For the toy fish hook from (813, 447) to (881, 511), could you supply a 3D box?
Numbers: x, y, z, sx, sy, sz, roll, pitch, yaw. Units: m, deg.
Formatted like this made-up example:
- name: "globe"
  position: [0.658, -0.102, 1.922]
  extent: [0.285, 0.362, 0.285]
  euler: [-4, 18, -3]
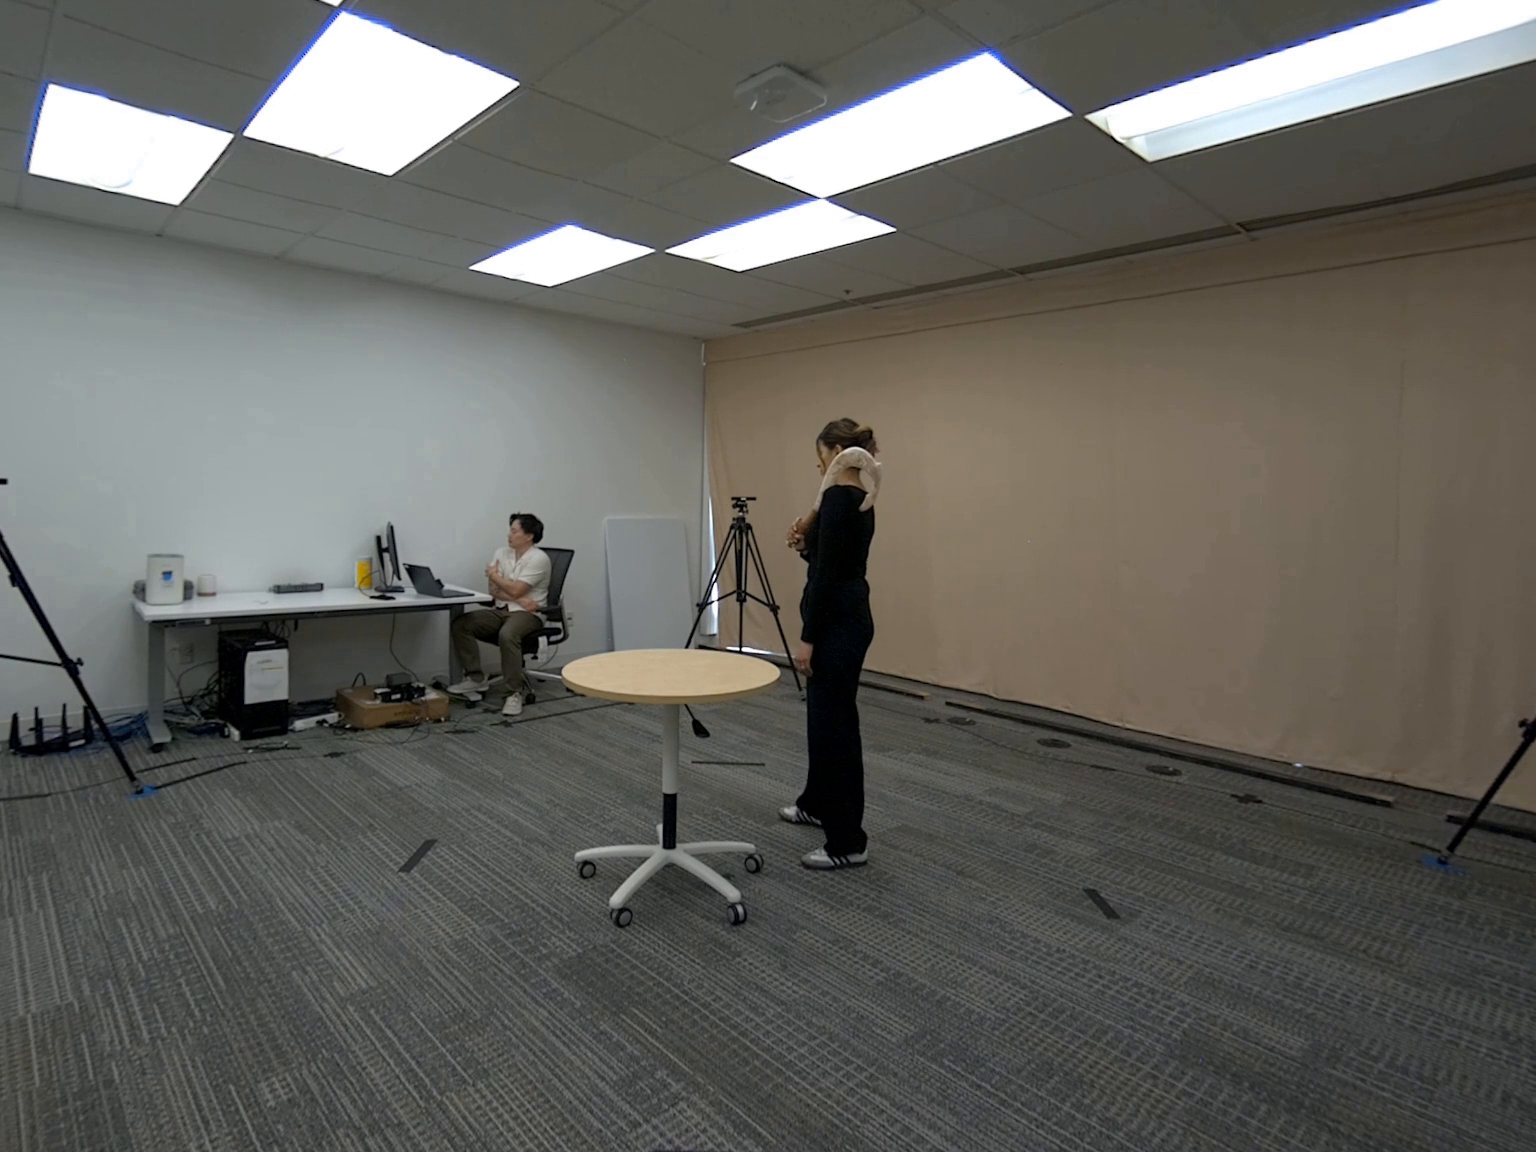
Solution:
- name: "toy fish hook"
  position: [0.248, -0.262, 3.247]
  extent: [0.230, 0.504, 0.047]
  euler: [45, 29, 21]
